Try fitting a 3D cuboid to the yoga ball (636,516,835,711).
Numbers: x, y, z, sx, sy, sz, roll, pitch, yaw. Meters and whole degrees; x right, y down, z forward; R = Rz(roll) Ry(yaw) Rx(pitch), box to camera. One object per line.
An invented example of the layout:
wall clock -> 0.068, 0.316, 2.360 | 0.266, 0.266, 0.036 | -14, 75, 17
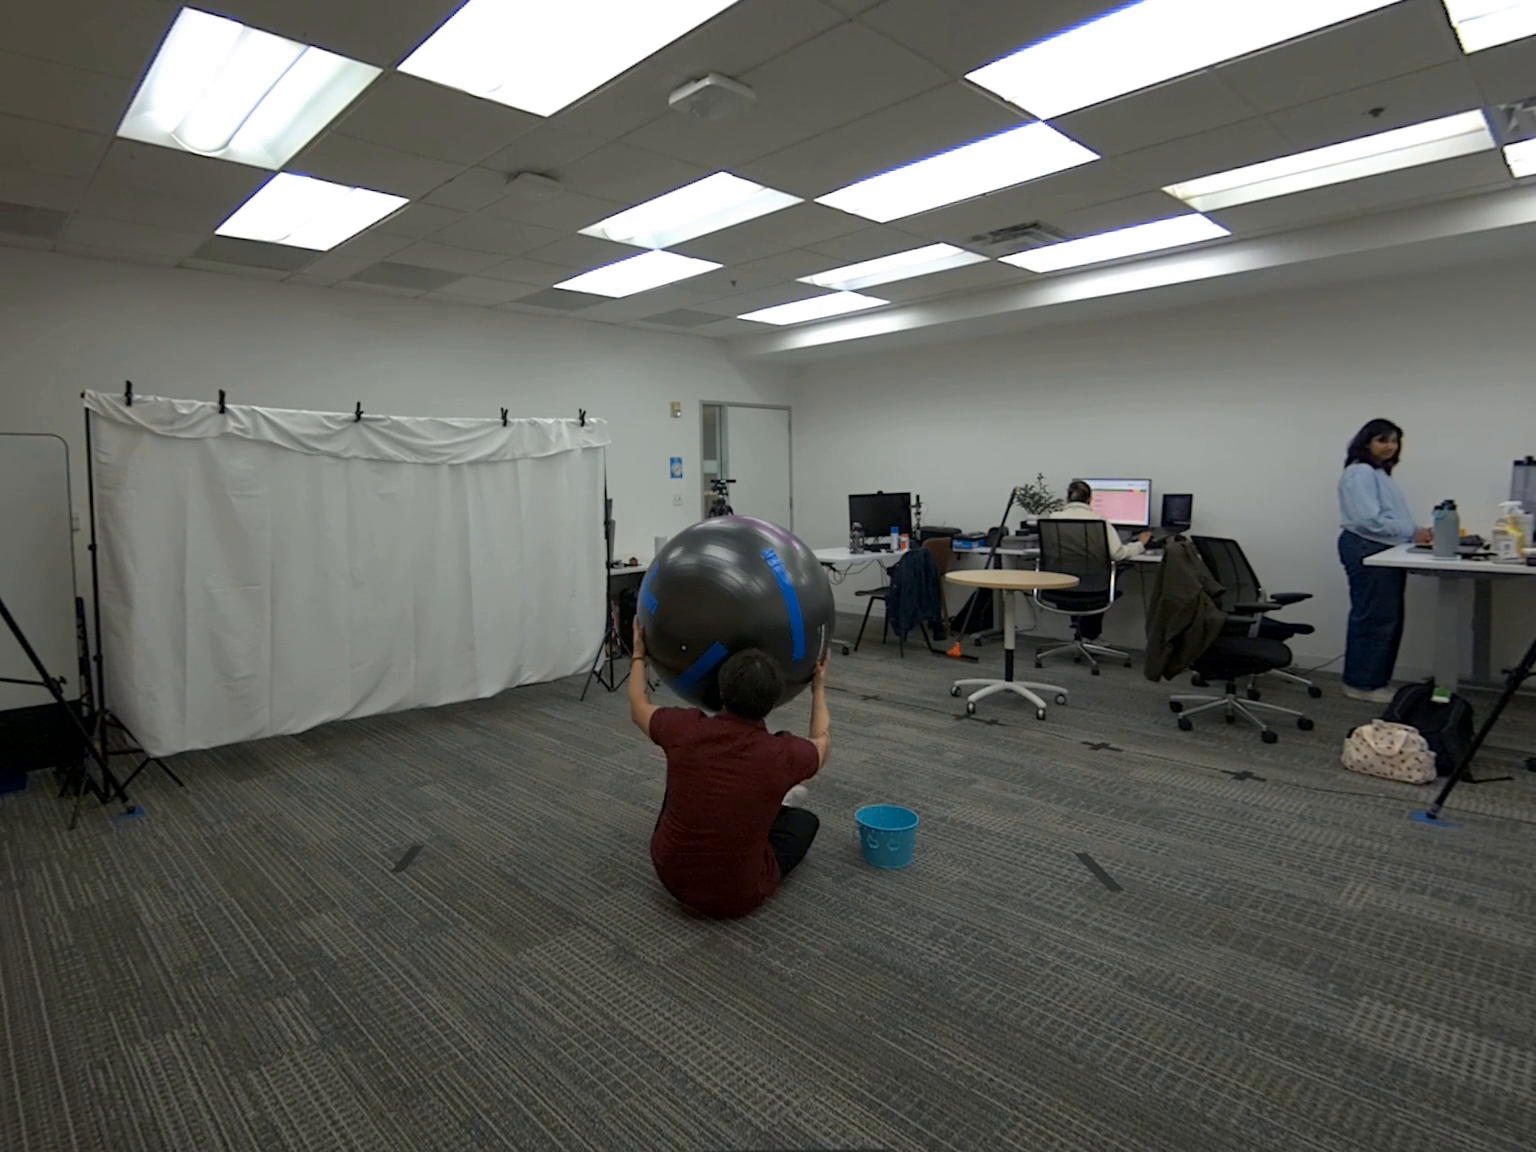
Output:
yoga ball -> -0.125, 0.155, 3.270 | 0.757, 0.755, 0.762 | -1, 5, -2
